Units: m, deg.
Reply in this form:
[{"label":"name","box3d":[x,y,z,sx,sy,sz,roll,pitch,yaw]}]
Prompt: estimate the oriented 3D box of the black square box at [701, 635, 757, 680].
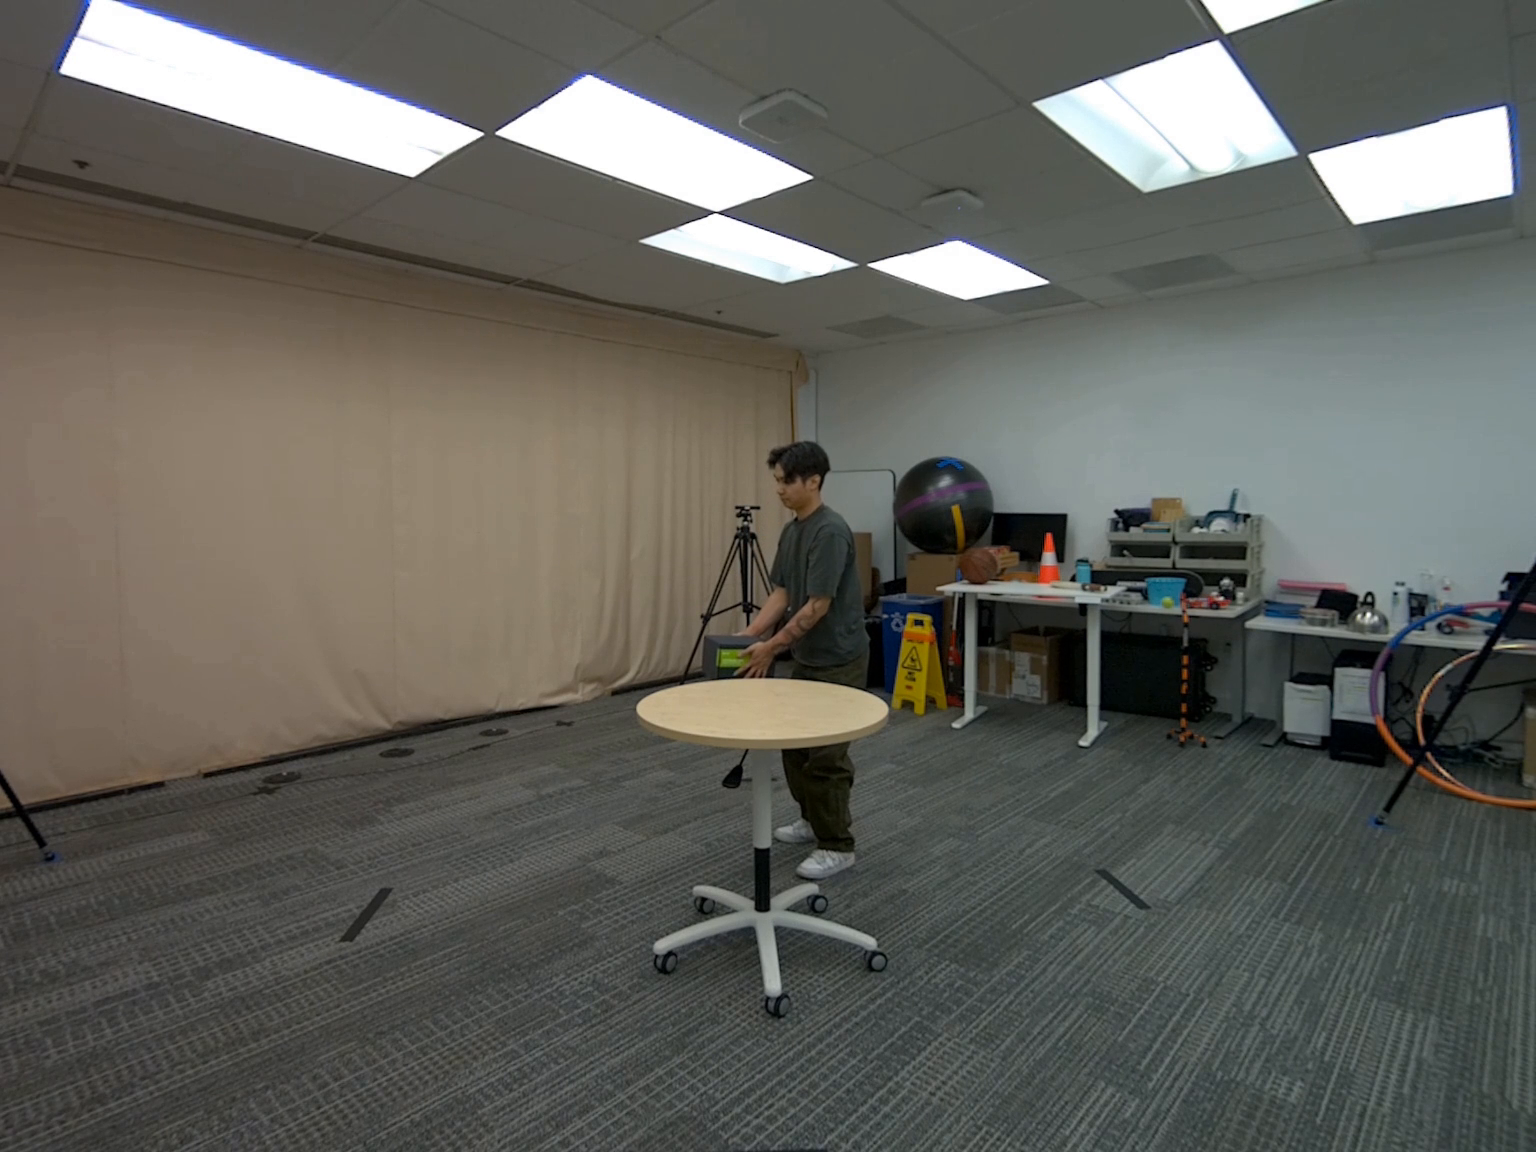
[{"label":"black square box","box3d":[-0.109,0.329,3.286,0.224,0.155,0.221,3,4,-18]}]
